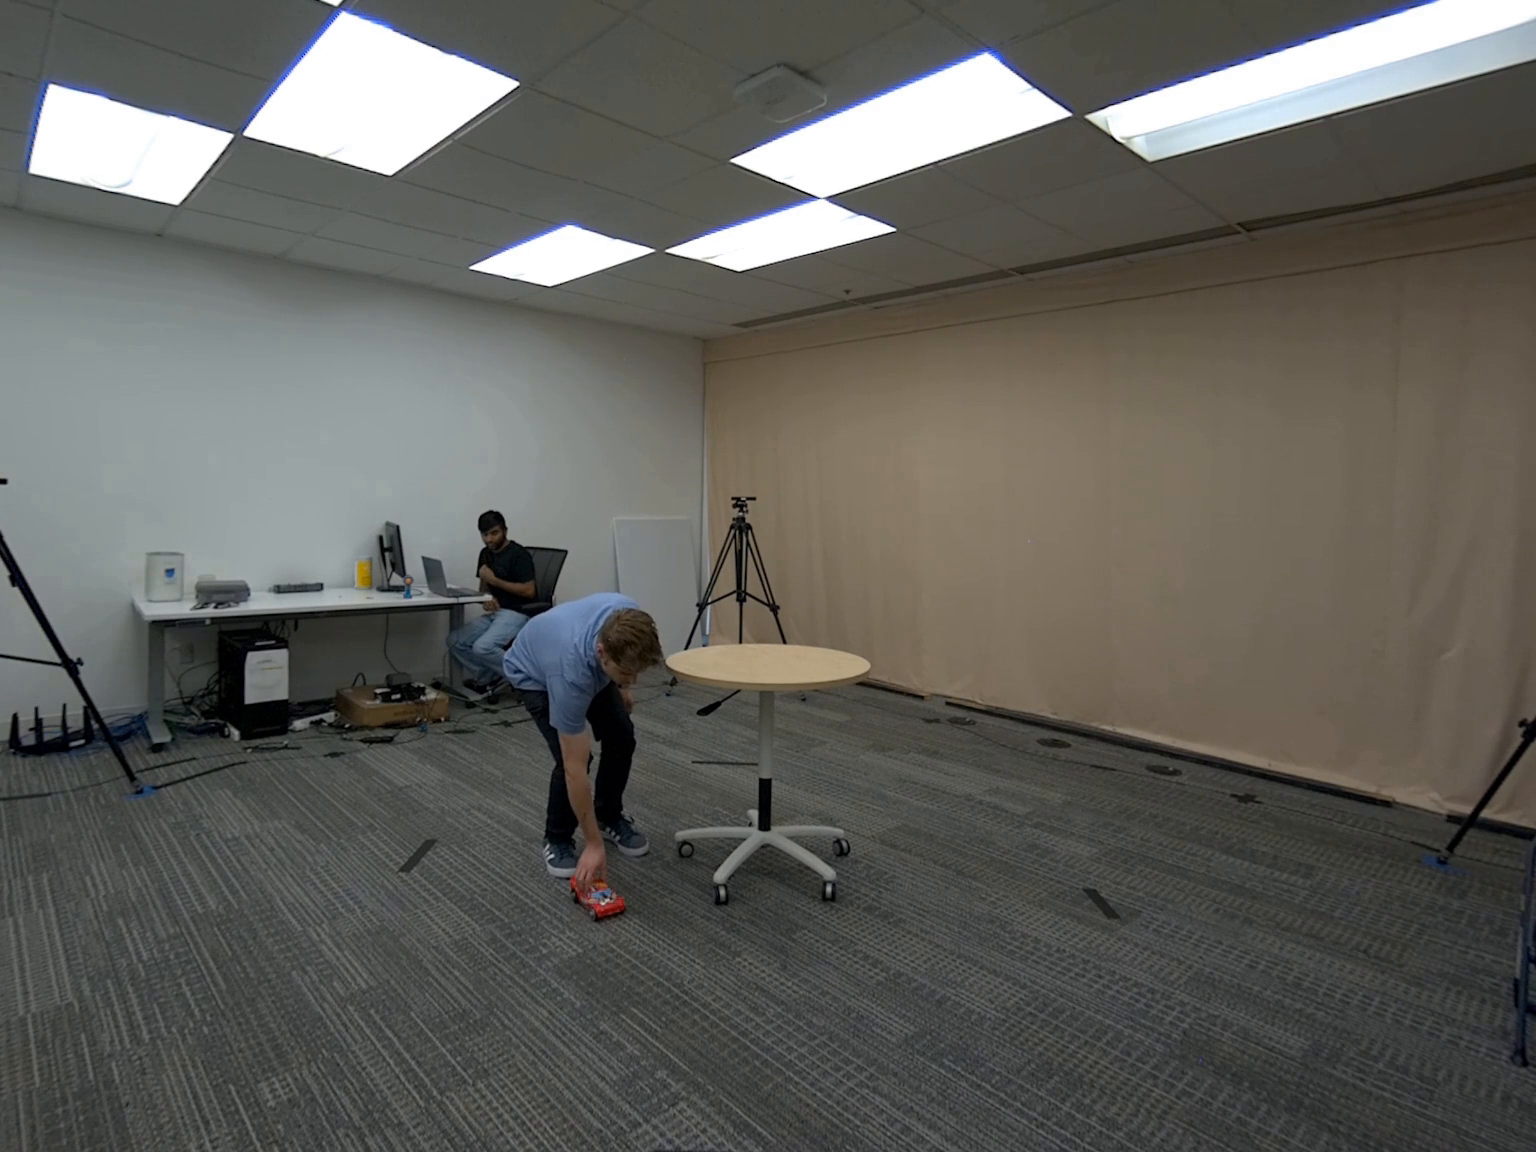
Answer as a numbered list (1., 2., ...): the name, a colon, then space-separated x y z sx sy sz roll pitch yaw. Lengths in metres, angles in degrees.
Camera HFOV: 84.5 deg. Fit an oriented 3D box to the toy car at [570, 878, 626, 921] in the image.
1. toy car: -0.593 1.089 2.858 0.127 0.082 0.262 -4 18 -35
